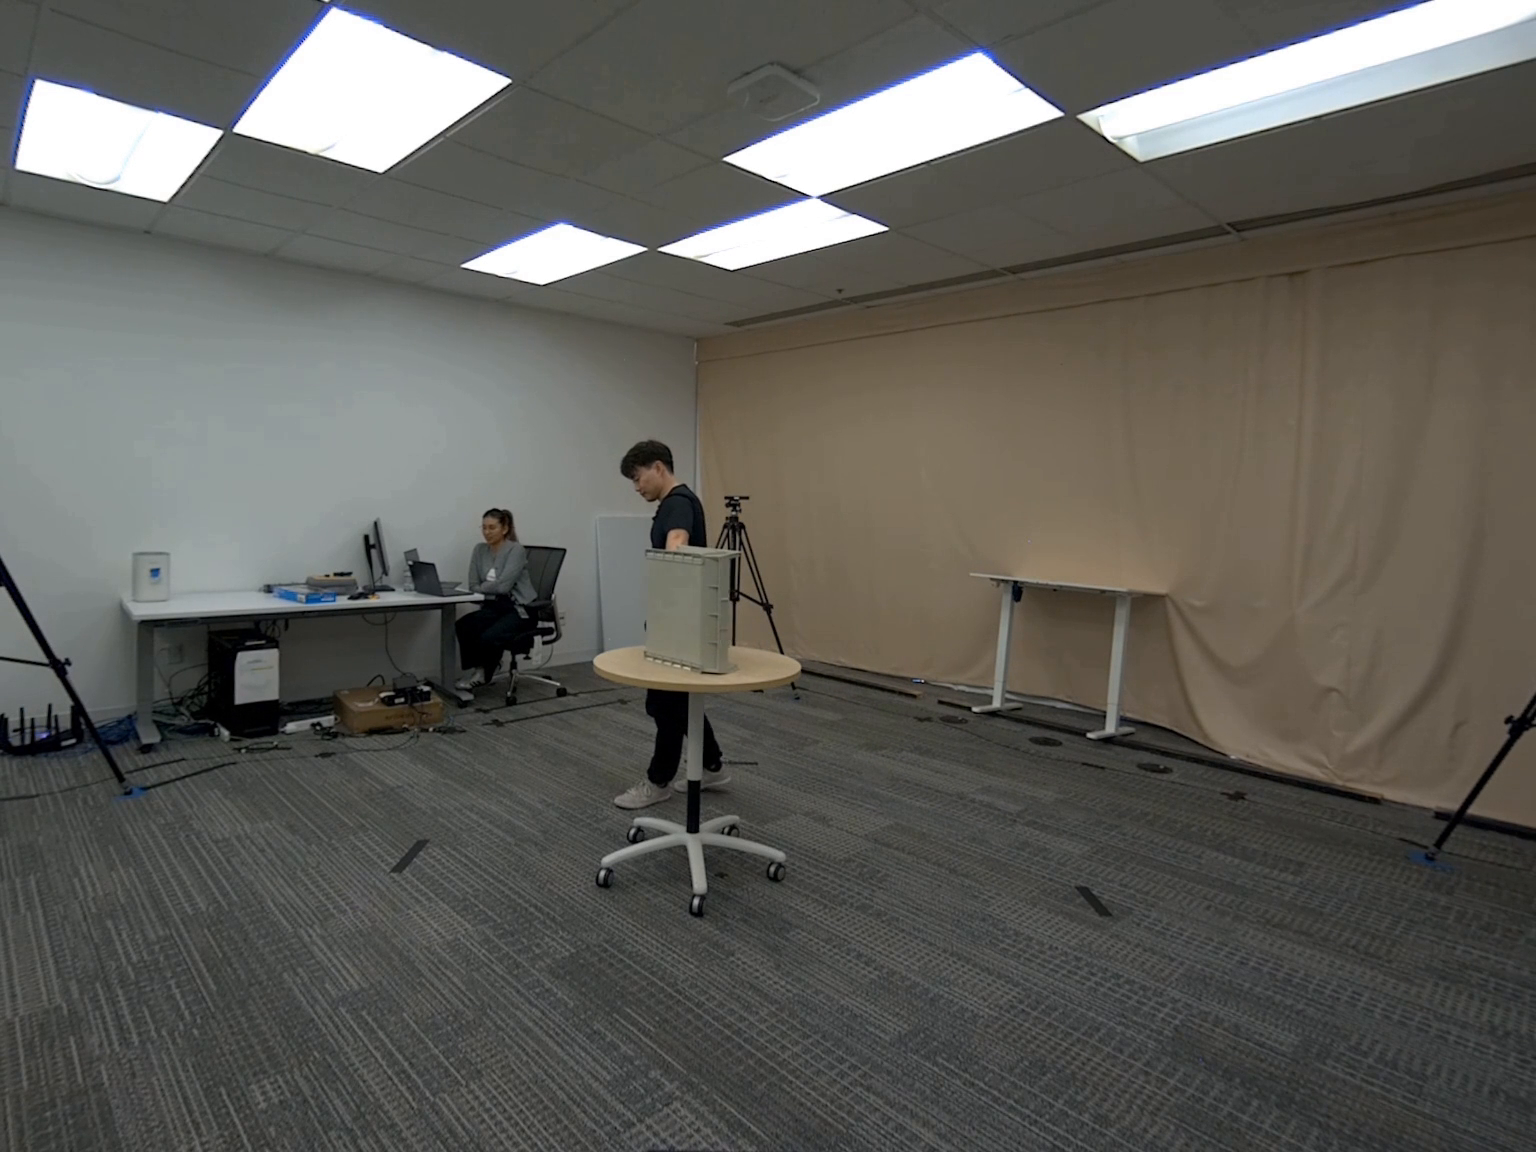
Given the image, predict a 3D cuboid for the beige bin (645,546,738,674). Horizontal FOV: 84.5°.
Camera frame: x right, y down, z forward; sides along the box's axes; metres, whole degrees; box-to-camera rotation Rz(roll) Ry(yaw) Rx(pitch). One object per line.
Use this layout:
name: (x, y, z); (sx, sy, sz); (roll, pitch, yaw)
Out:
beige bin: (-0.275, 0.116, 3.043); (0.387, 0.421, 0.185); (7, 7, 43)
